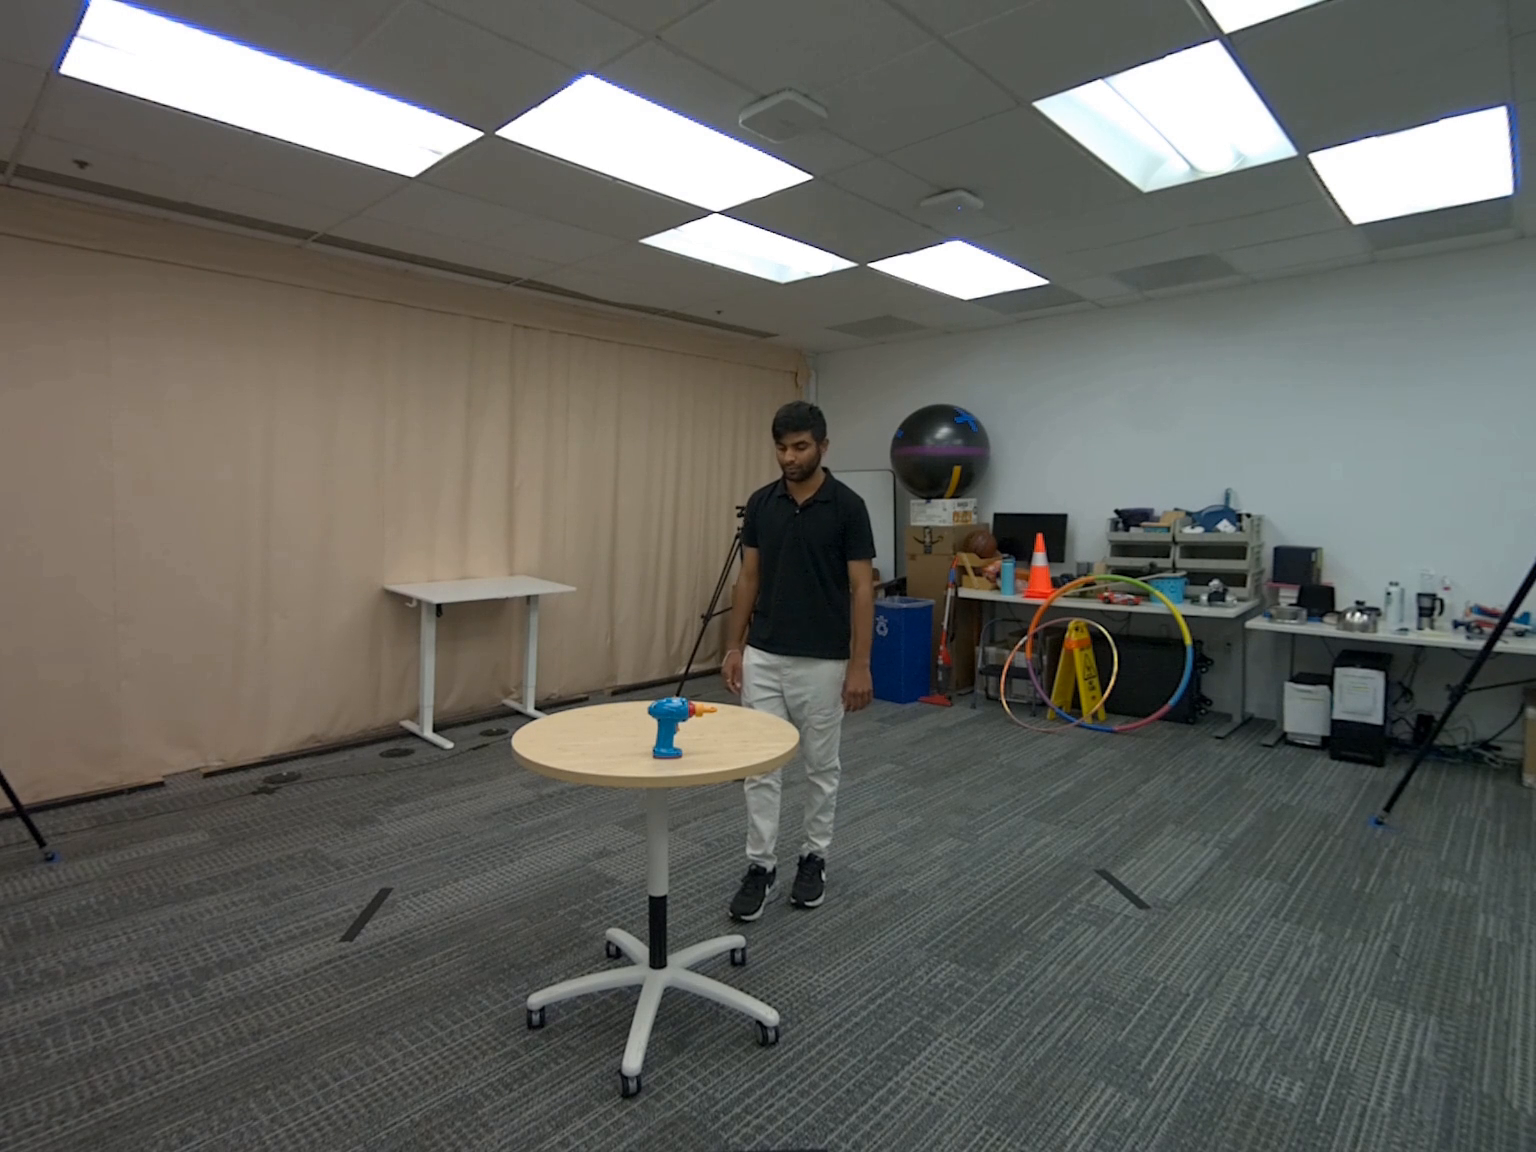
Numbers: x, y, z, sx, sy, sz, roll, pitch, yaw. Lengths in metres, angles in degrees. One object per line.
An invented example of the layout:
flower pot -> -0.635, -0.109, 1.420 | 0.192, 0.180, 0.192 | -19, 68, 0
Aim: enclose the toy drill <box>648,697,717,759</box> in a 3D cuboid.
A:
toy drill -> -0.200, 0.369, 2.035 | 0.169, 0.146, 0.061 | 0, 2, -4
